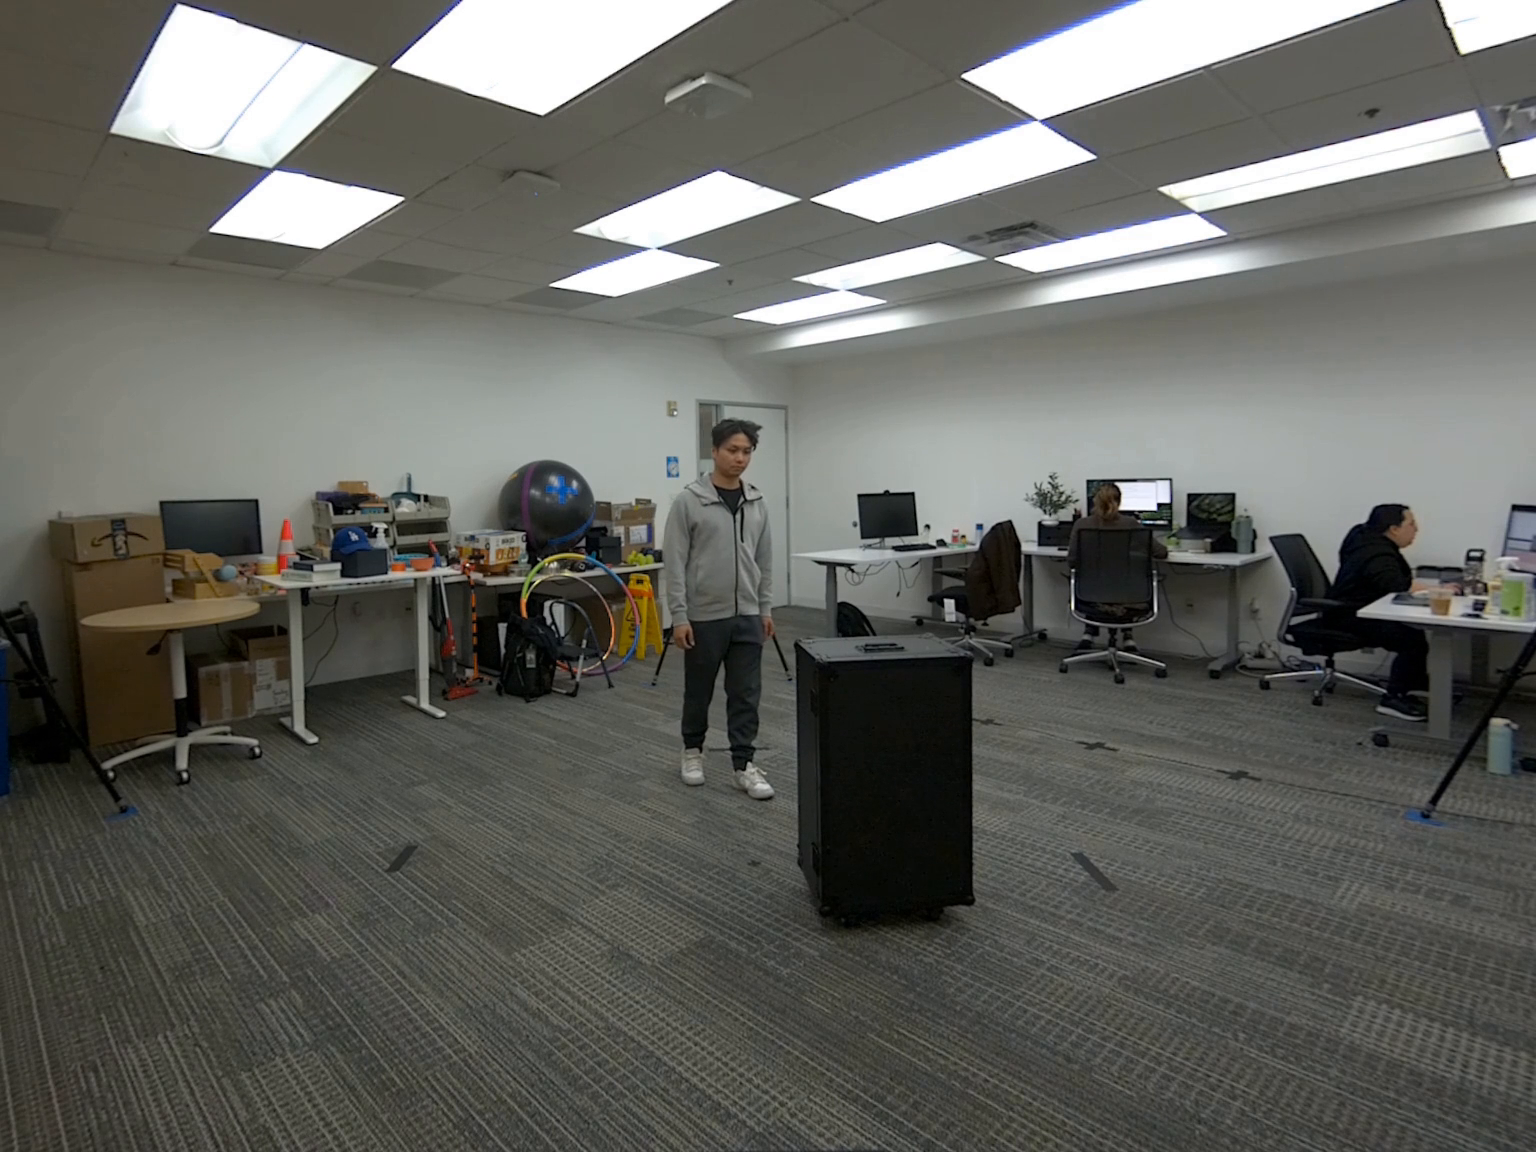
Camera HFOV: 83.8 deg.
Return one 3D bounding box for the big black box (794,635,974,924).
[{"bbox_3d":[0.365,0.651,2.769,0.517,0.859,0.400,-2,4,-8],"label":"big black box"}]
